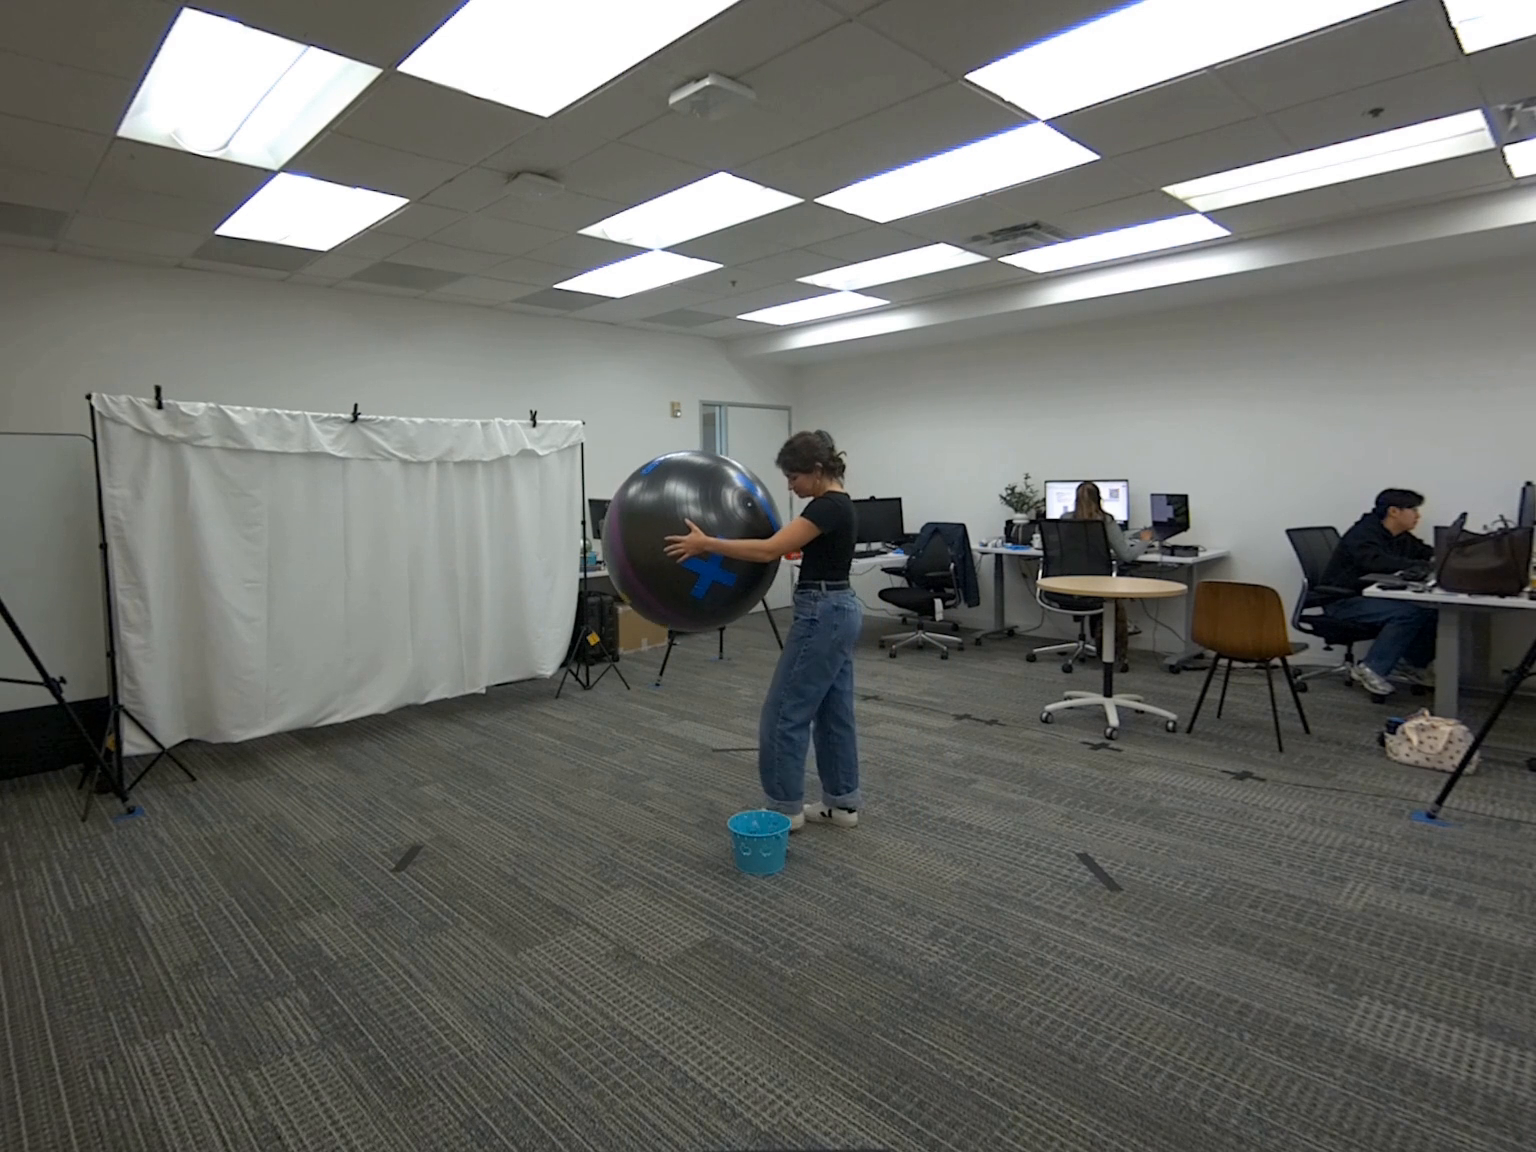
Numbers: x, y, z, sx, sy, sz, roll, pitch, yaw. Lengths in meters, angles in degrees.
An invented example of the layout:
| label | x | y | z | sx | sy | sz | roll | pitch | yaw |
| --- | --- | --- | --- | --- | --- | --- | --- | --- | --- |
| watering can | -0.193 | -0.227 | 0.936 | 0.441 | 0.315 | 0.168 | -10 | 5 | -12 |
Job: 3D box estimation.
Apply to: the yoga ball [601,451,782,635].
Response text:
| label | x | y | z | sx | sy | sz | roll | pitch | yaw |
| --- | --- | --- | --- | --- | --- | --- | --- | --- | --- |
| yoga ball | -0.327 | -0.140 | 3.595 | 0.757 | 0.755 | 0.762 | -1 | 5 | -2 |
